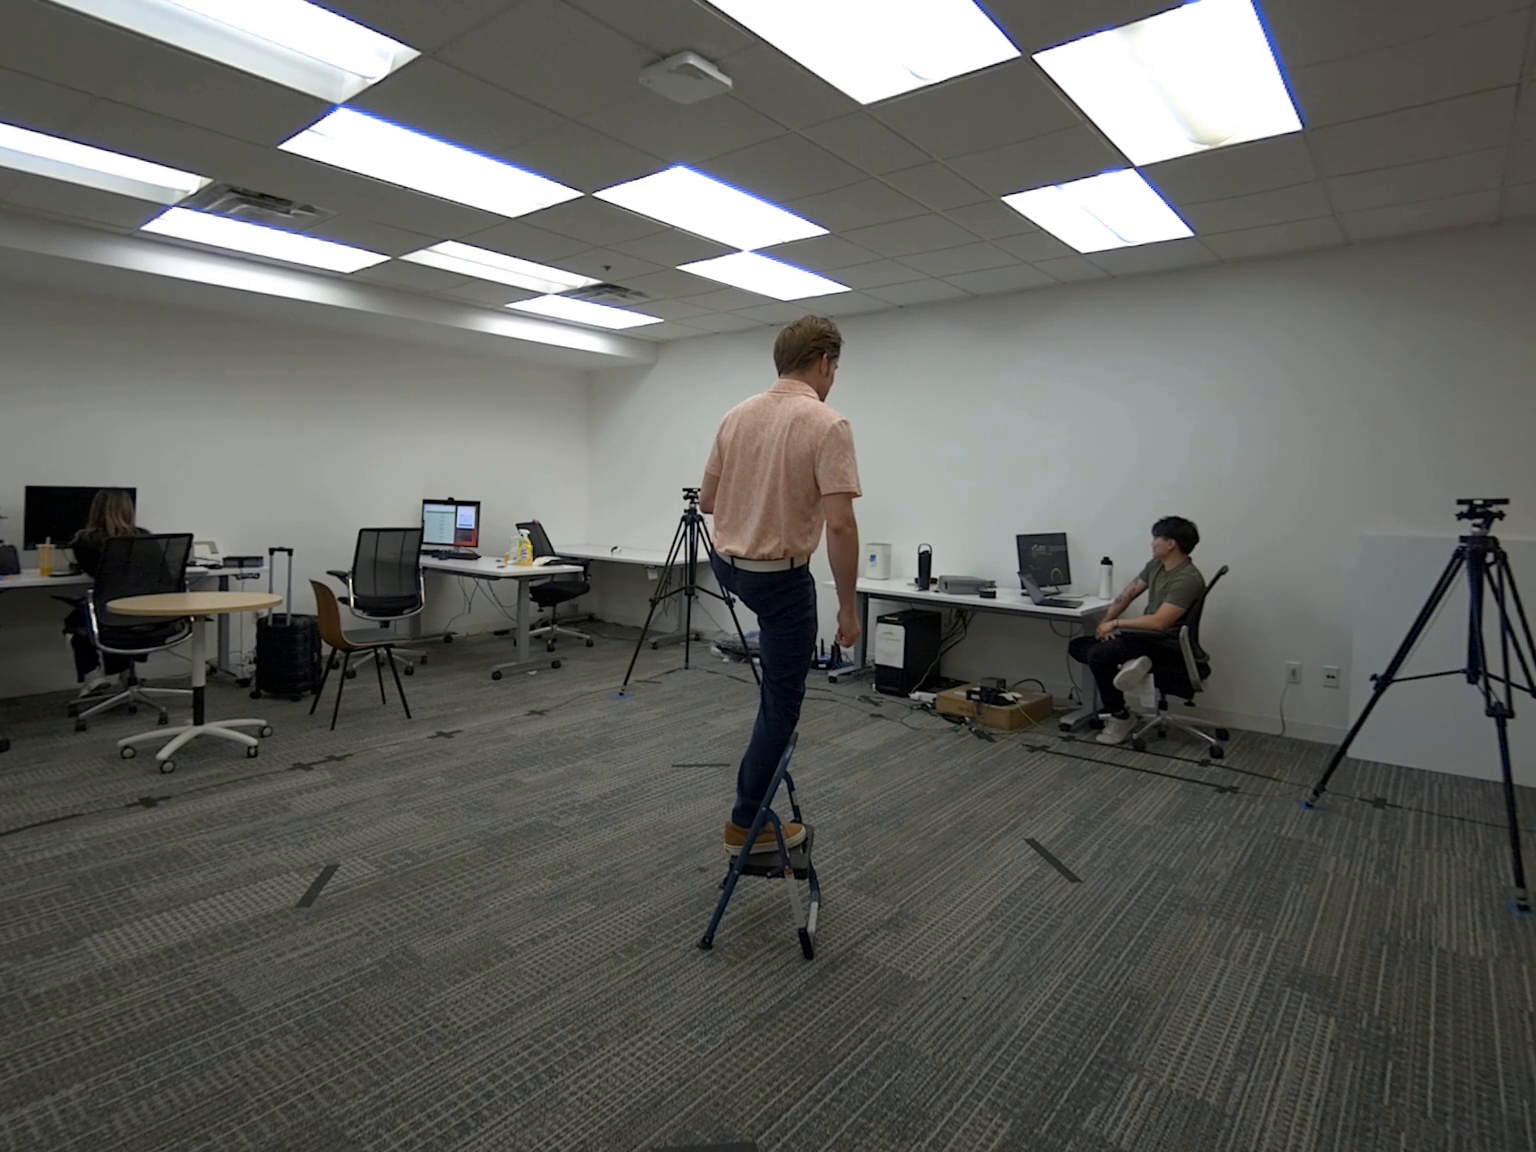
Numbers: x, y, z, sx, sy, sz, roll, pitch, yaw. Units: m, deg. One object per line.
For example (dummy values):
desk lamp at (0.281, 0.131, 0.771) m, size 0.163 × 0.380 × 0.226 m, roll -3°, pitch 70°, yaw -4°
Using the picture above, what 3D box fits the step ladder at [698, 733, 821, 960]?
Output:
step ladder at (-0.013, 0.811, 2.730) m, size 0.353 × 0.604 × 0.428 m, roll 2°, pitch 4°, yaw 7°
